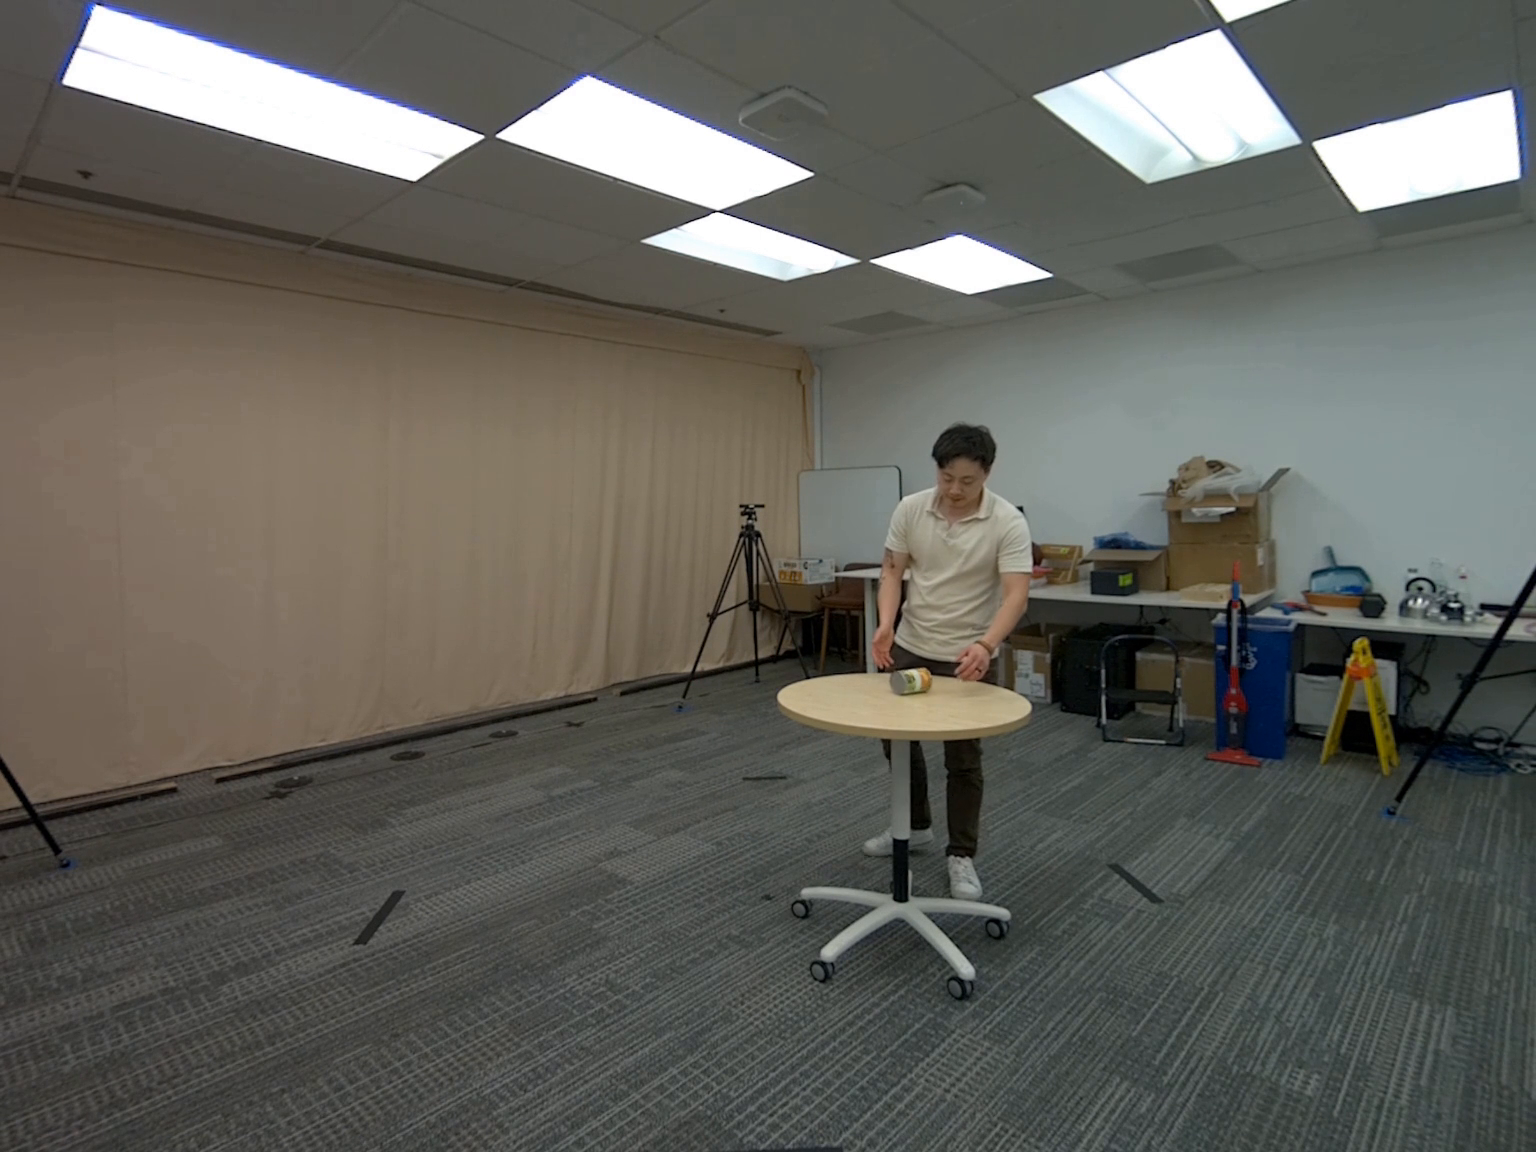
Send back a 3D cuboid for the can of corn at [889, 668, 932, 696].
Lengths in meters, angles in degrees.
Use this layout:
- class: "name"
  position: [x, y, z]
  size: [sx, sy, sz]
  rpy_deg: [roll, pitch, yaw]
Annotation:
- class: "can of corn"
  position: [0.465, 0.335, 2.687]
  size: [0.109, 0.074, 0.076]
  rpy_deg: [-3, 5, -22]
